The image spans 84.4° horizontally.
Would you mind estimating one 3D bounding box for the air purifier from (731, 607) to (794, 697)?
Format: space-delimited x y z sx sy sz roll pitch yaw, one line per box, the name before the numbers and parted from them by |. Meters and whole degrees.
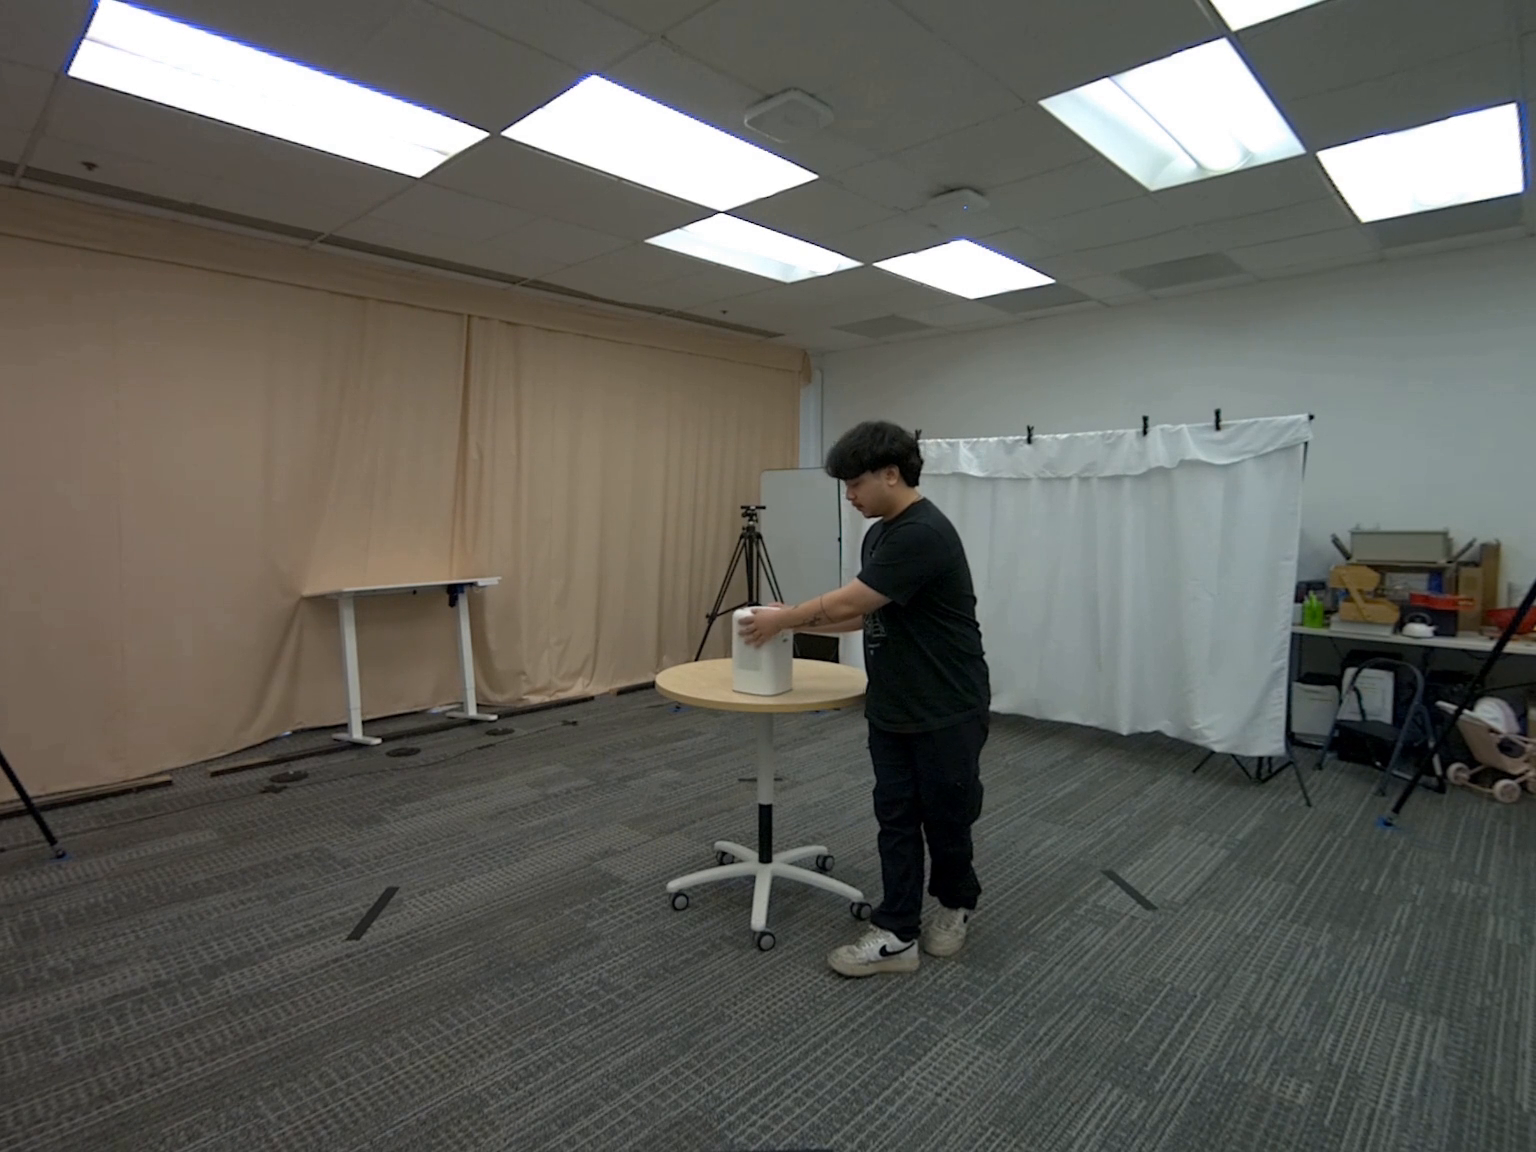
air purifier | -0.012 0.241 2.737 0.176 0.265 0.166 2 4 30
